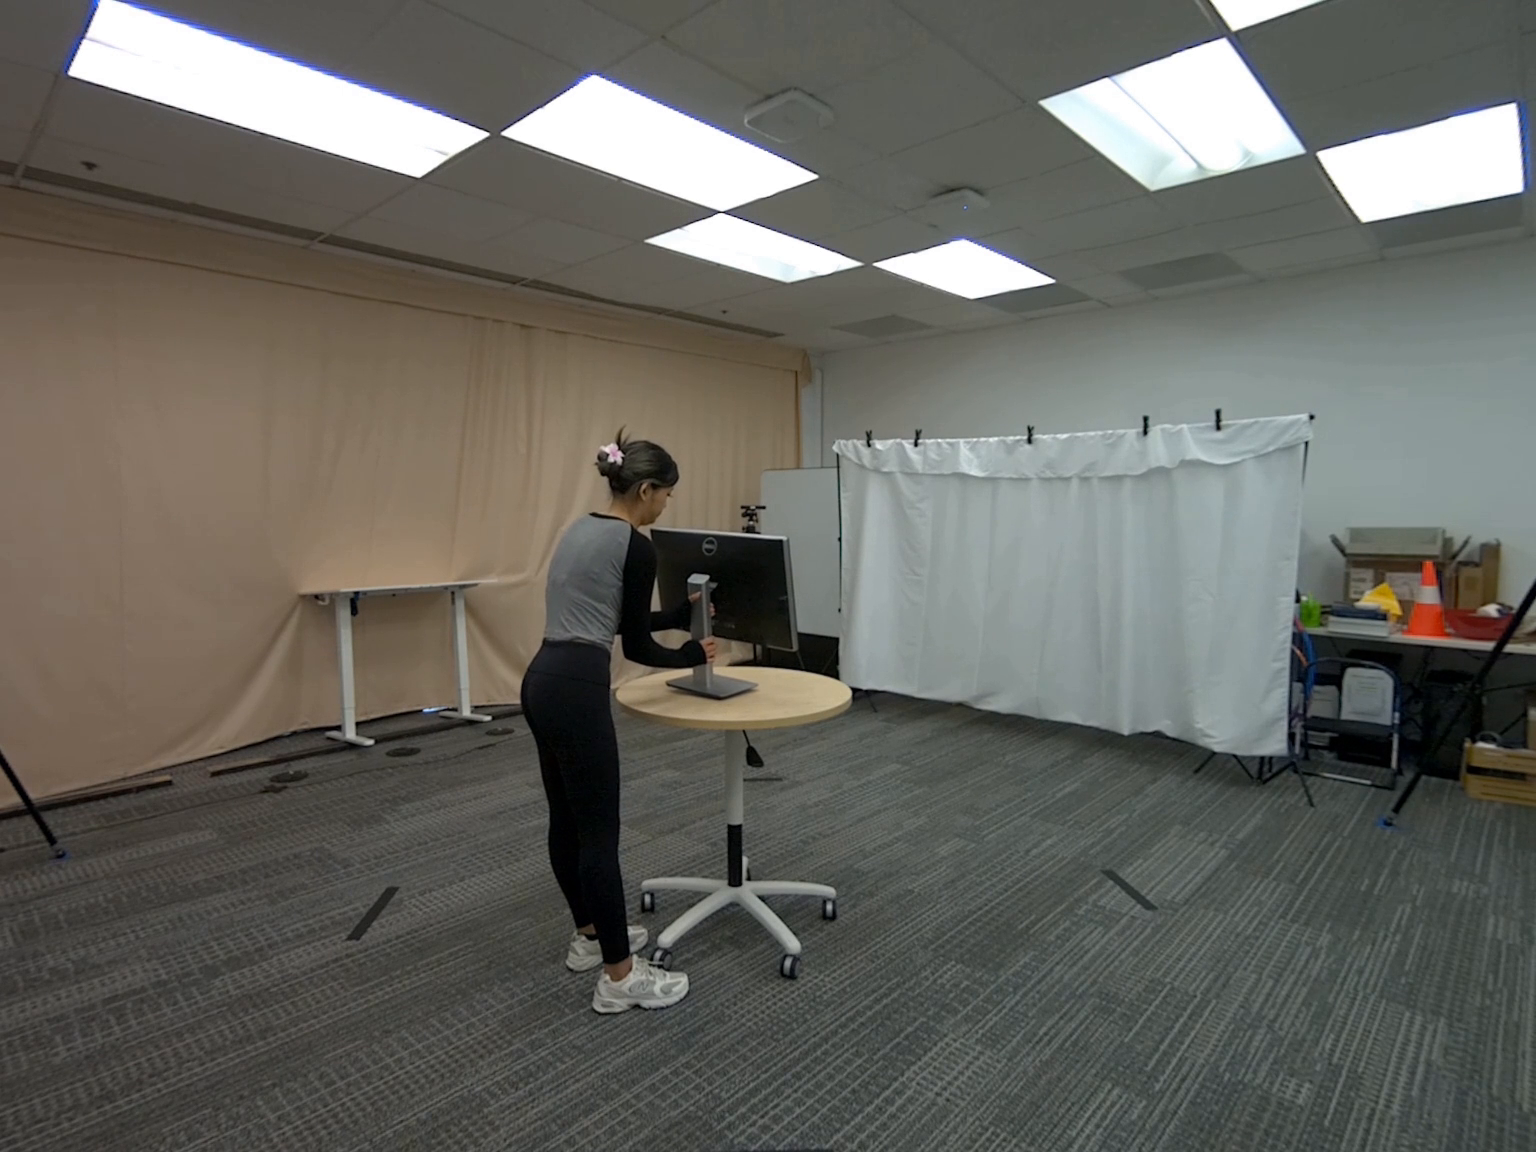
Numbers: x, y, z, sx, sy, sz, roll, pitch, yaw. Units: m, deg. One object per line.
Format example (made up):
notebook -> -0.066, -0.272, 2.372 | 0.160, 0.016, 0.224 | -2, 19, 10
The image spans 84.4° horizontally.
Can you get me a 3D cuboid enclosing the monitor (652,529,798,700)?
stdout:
monitor -> -0.170, 0.116, 2.724 | 0.547, 0.516, 0.169 | 5, -1, 38
